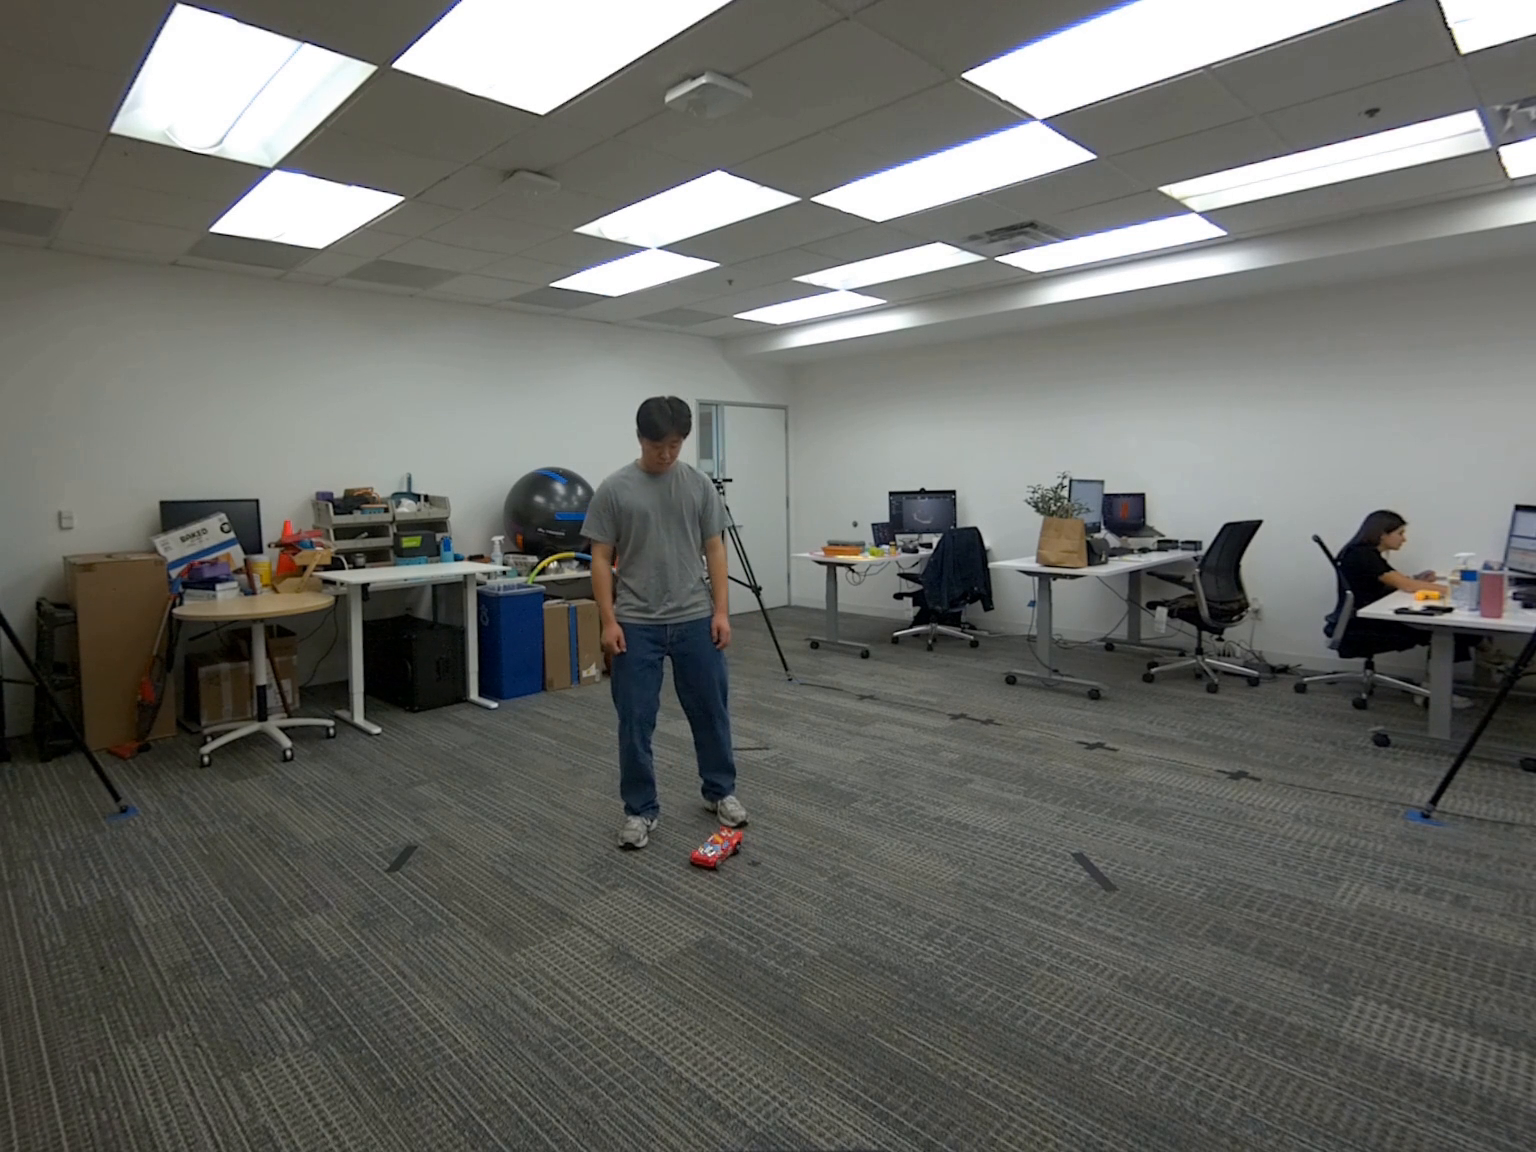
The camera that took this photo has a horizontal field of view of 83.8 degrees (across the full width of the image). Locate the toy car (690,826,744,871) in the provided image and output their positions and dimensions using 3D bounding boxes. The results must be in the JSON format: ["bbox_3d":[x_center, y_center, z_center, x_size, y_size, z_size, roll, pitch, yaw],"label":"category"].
[{"bbox_3d":[-0.186,1.012,3.163,0.133,0.082,0.252,2,18,28],"label":"toy car"}]
